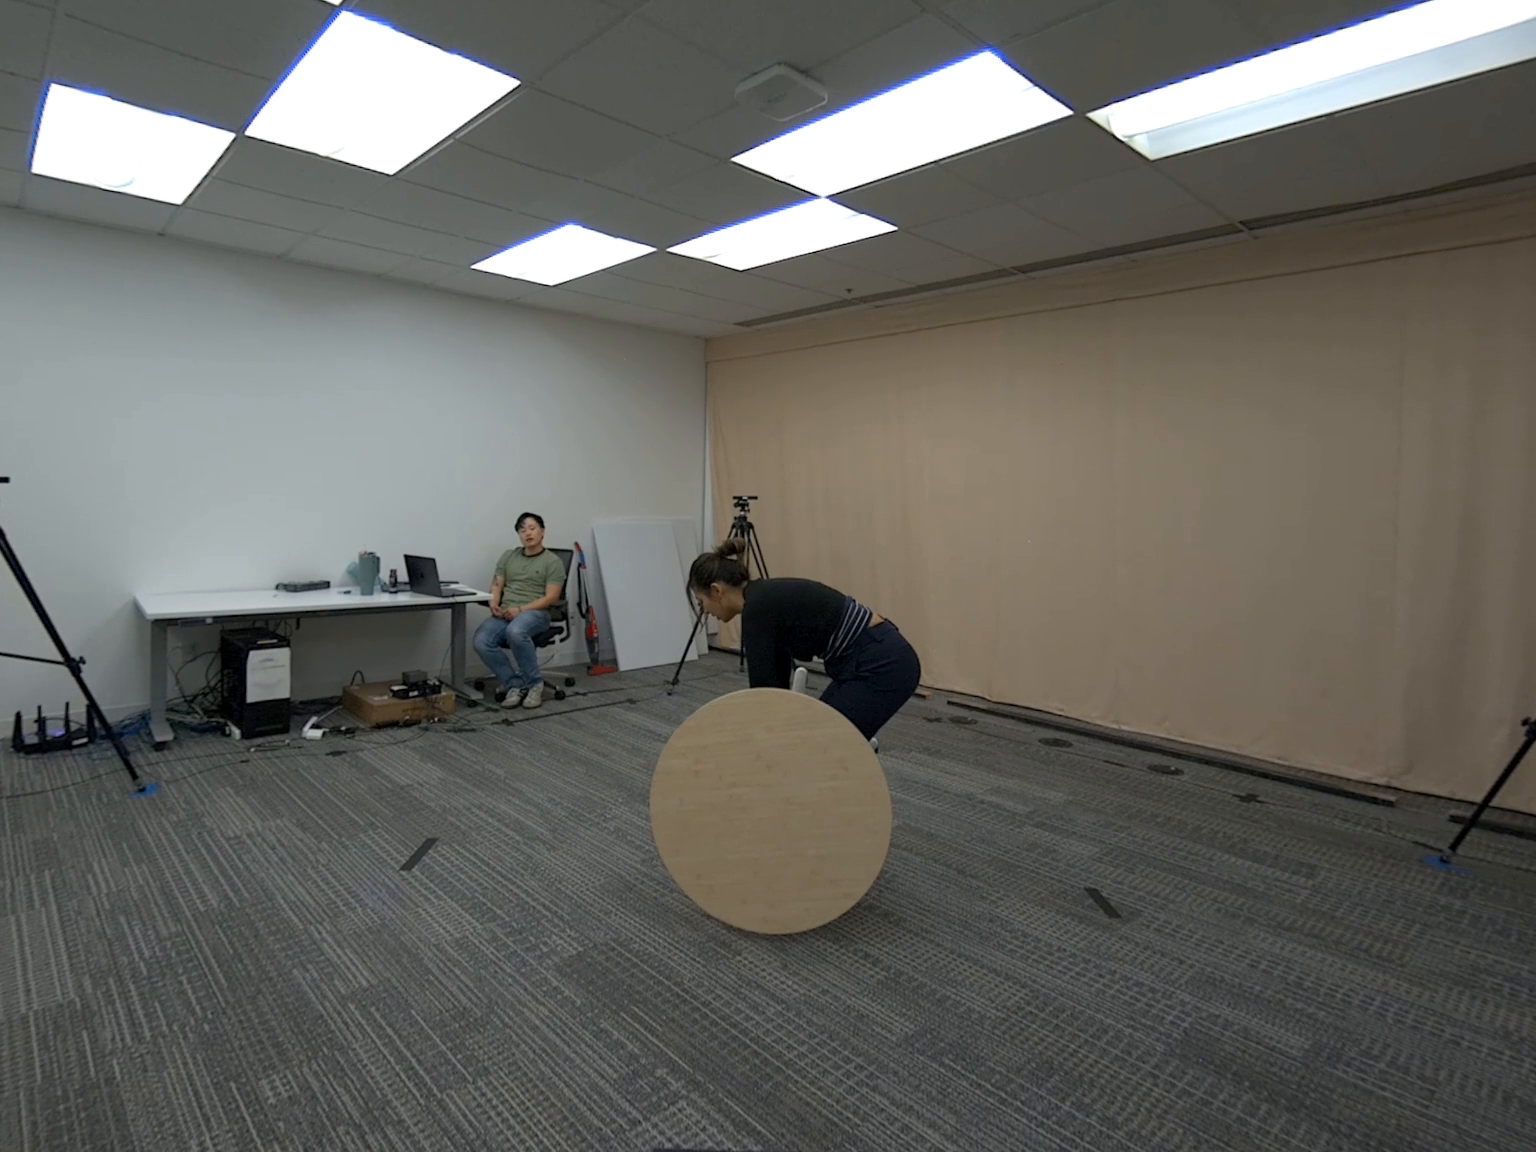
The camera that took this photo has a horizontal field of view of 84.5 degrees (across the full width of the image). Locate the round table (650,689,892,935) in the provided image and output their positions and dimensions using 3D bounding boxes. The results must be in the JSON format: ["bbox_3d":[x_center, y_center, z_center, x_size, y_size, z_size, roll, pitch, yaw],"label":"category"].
[{"bbox_3d":[0.038,0.724,3.035,0.769,0.764,0.788,2,0,8],"label":"round table"}]
